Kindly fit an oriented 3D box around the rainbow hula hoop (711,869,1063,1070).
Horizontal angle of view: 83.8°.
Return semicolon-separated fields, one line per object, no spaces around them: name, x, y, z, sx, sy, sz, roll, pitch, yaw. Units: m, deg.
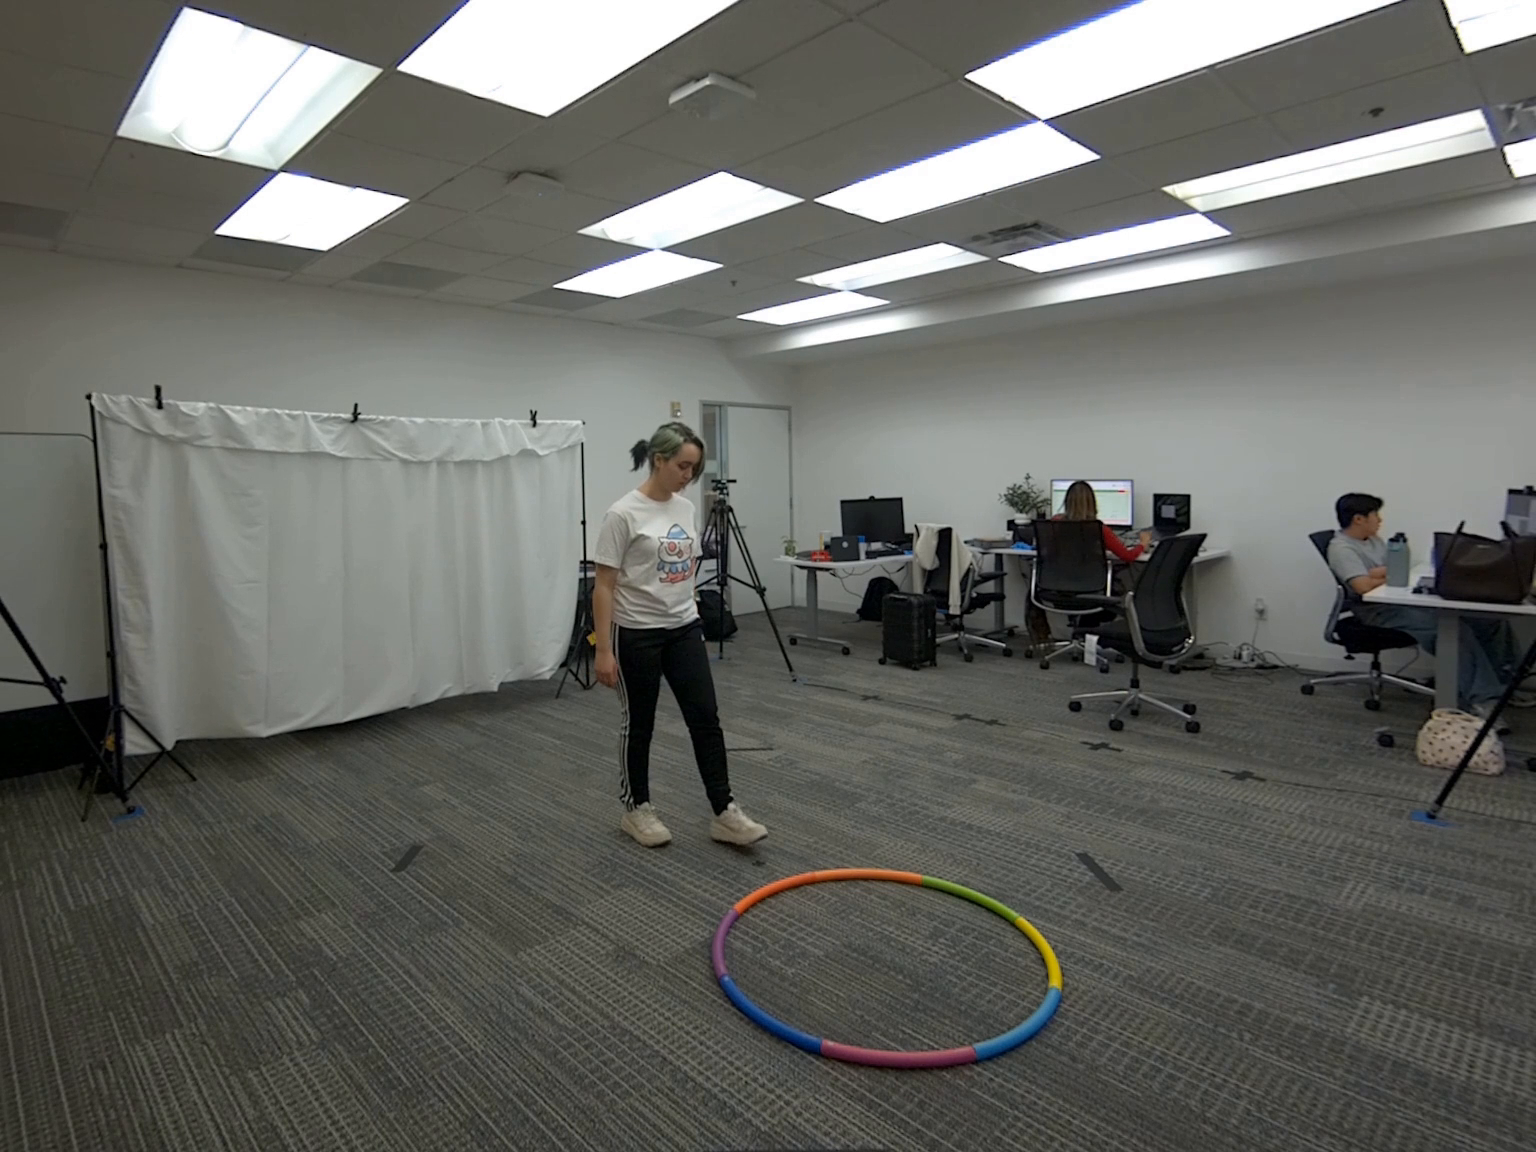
rainbow hula hoop;0.328;1.079;2.503;0.978;0.035;0.984;-2;6;-2
